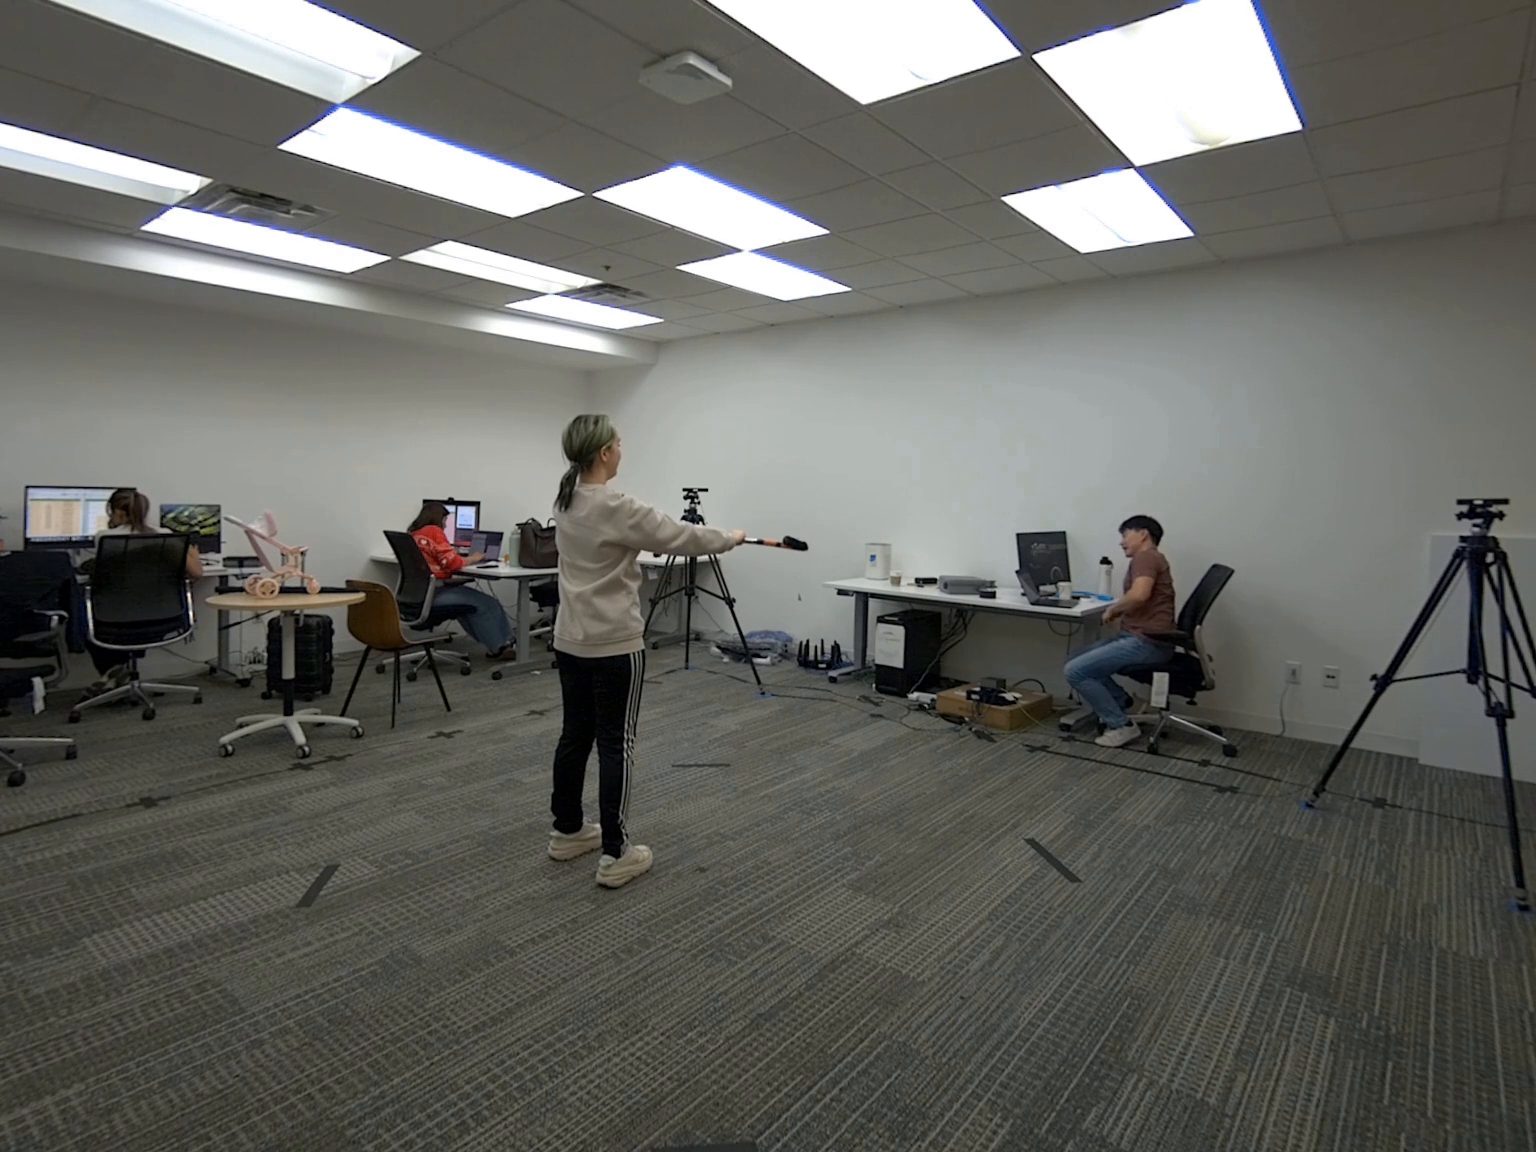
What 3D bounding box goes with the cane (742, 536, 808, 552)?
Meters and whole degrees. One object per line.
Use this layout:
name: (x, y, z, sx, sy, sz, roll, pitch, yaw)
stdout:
cane: (-0.214, -0.147, 3.448, 0.940, 0.152, 0.198, 8, -10, 44)
